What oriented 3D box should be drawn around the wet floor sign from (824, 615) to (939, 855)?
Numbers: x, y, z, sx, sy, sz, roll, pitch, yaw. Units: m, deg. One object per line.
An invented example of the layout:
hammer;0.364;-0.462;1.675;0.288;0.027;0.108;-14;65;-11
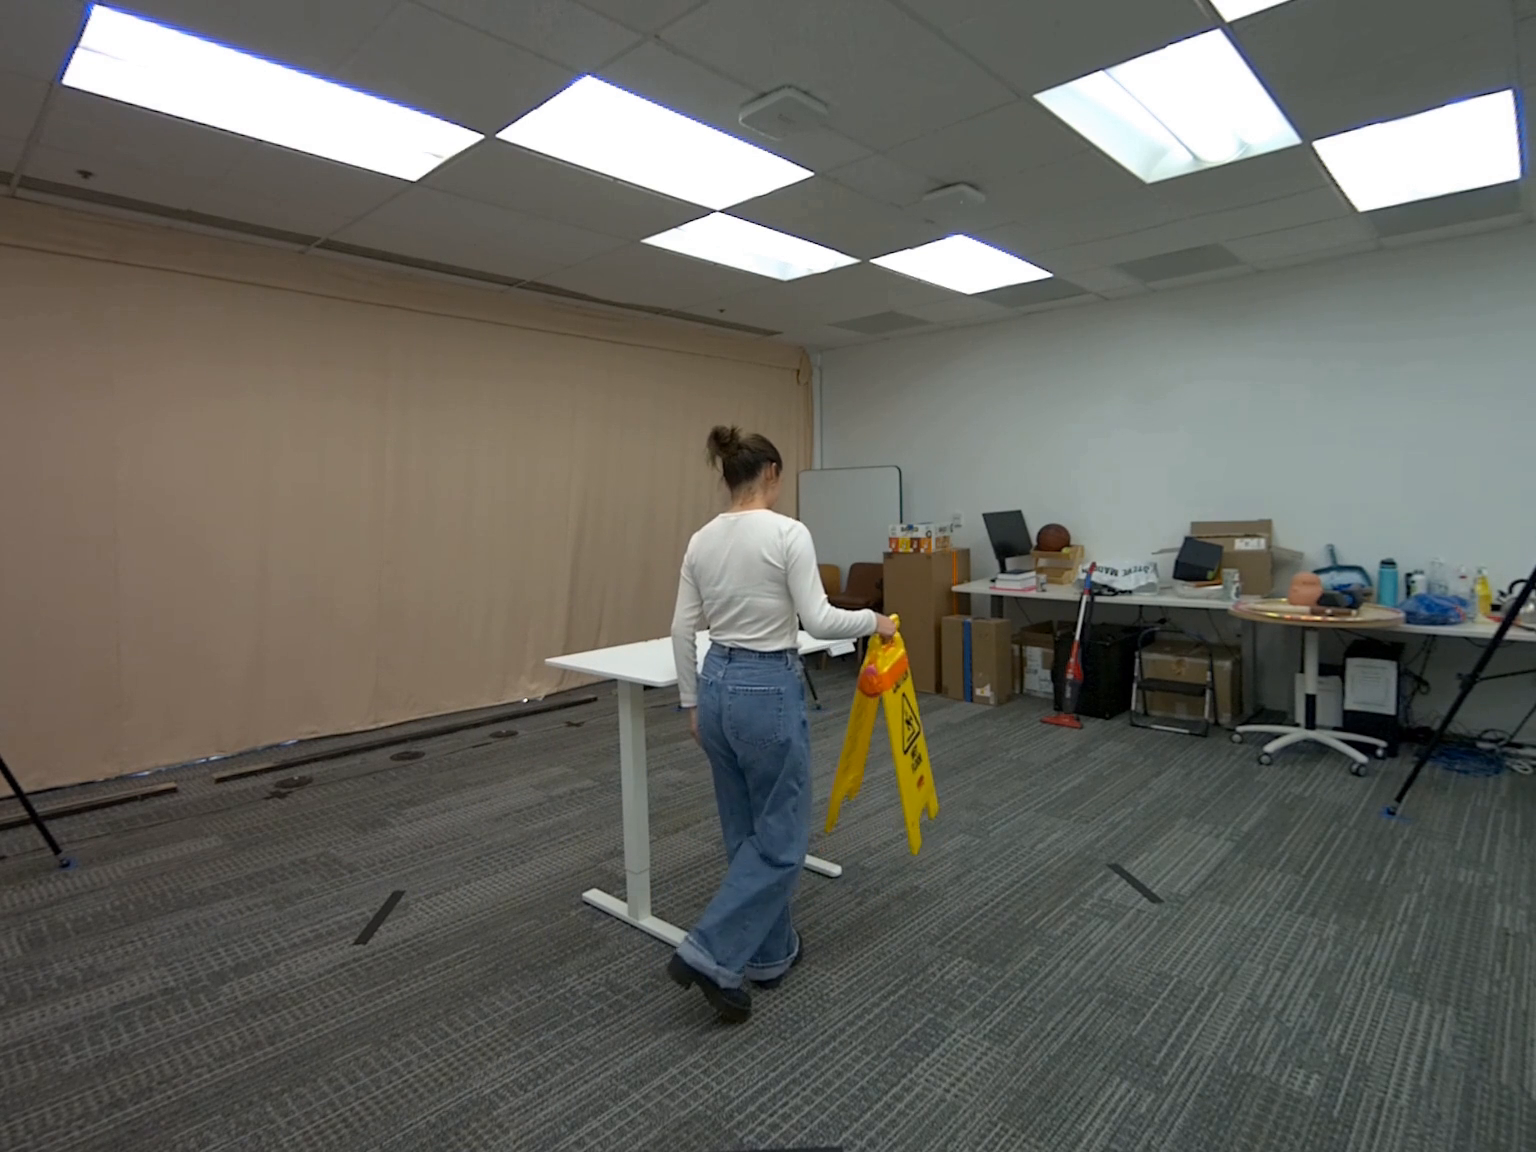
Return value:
wet floor sign;0.357;0.448;2.521;0.298;0.640;0.277;6;17;26
